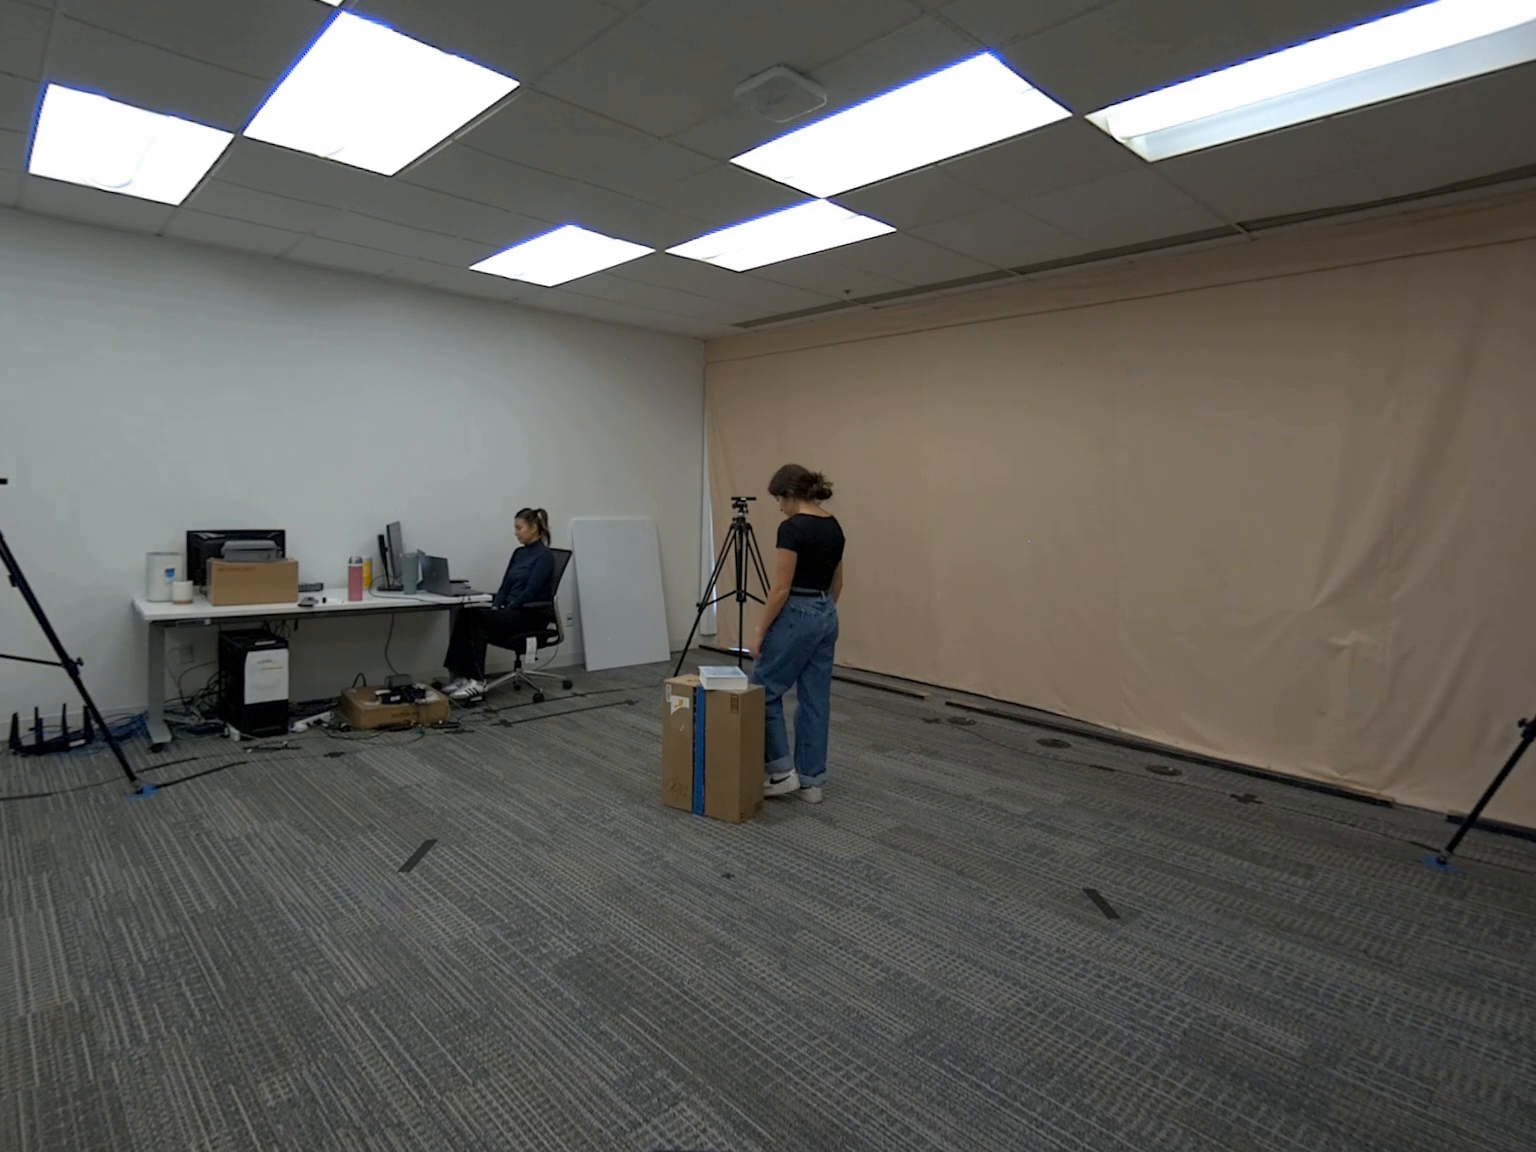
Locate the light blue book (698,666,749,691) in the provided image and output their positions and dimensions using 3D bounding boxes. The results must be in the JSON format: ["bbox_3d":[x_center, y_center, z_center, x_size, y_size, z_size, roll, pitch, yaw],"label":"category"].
[{"bbox_3d":[-0.211,0.456,3.778,0.190,0.059,0.264,1,4,-11],"label":"light blue book"}]
